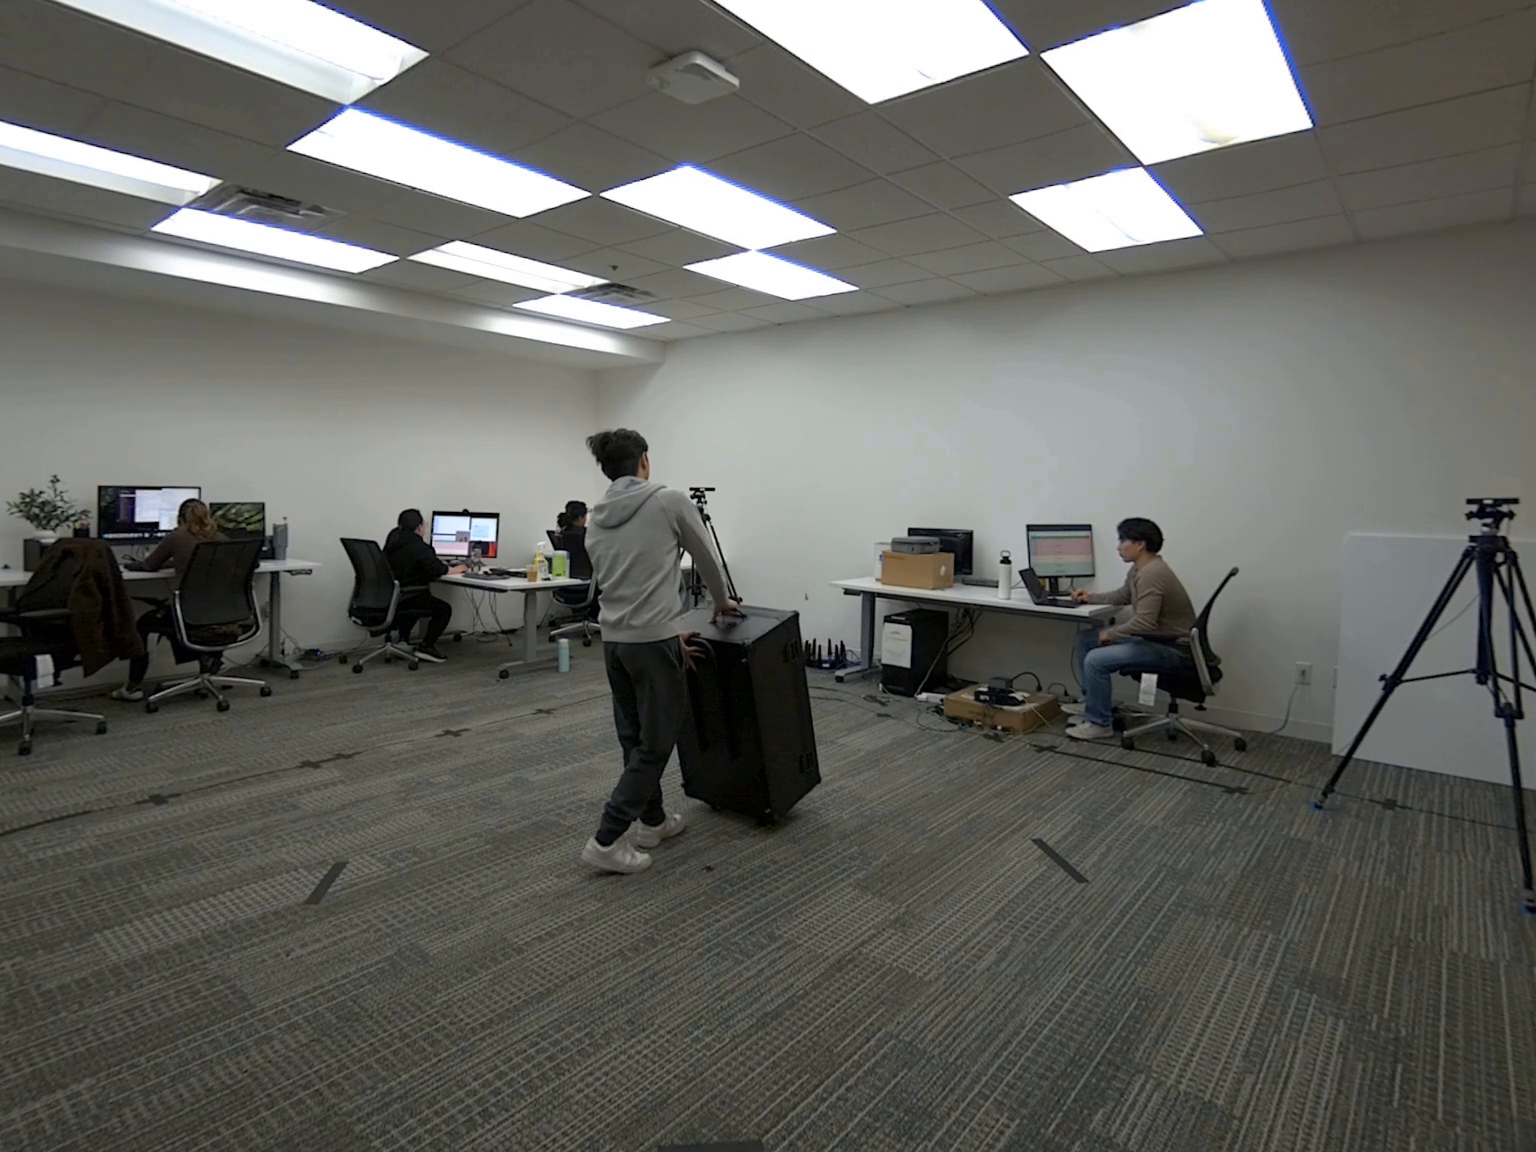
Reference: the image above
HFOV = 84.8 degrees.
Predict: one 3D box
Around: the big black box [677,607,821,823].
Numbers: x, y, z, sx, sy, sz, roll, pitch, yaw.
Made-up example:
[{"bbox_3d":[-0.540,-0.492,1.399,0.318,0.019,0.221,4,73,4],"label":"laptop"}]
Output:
[{"bbox_3d":[-0.123,0.584,3.581,0.538,0.847,0.390,4,20,38],"label":"big black box"}]
